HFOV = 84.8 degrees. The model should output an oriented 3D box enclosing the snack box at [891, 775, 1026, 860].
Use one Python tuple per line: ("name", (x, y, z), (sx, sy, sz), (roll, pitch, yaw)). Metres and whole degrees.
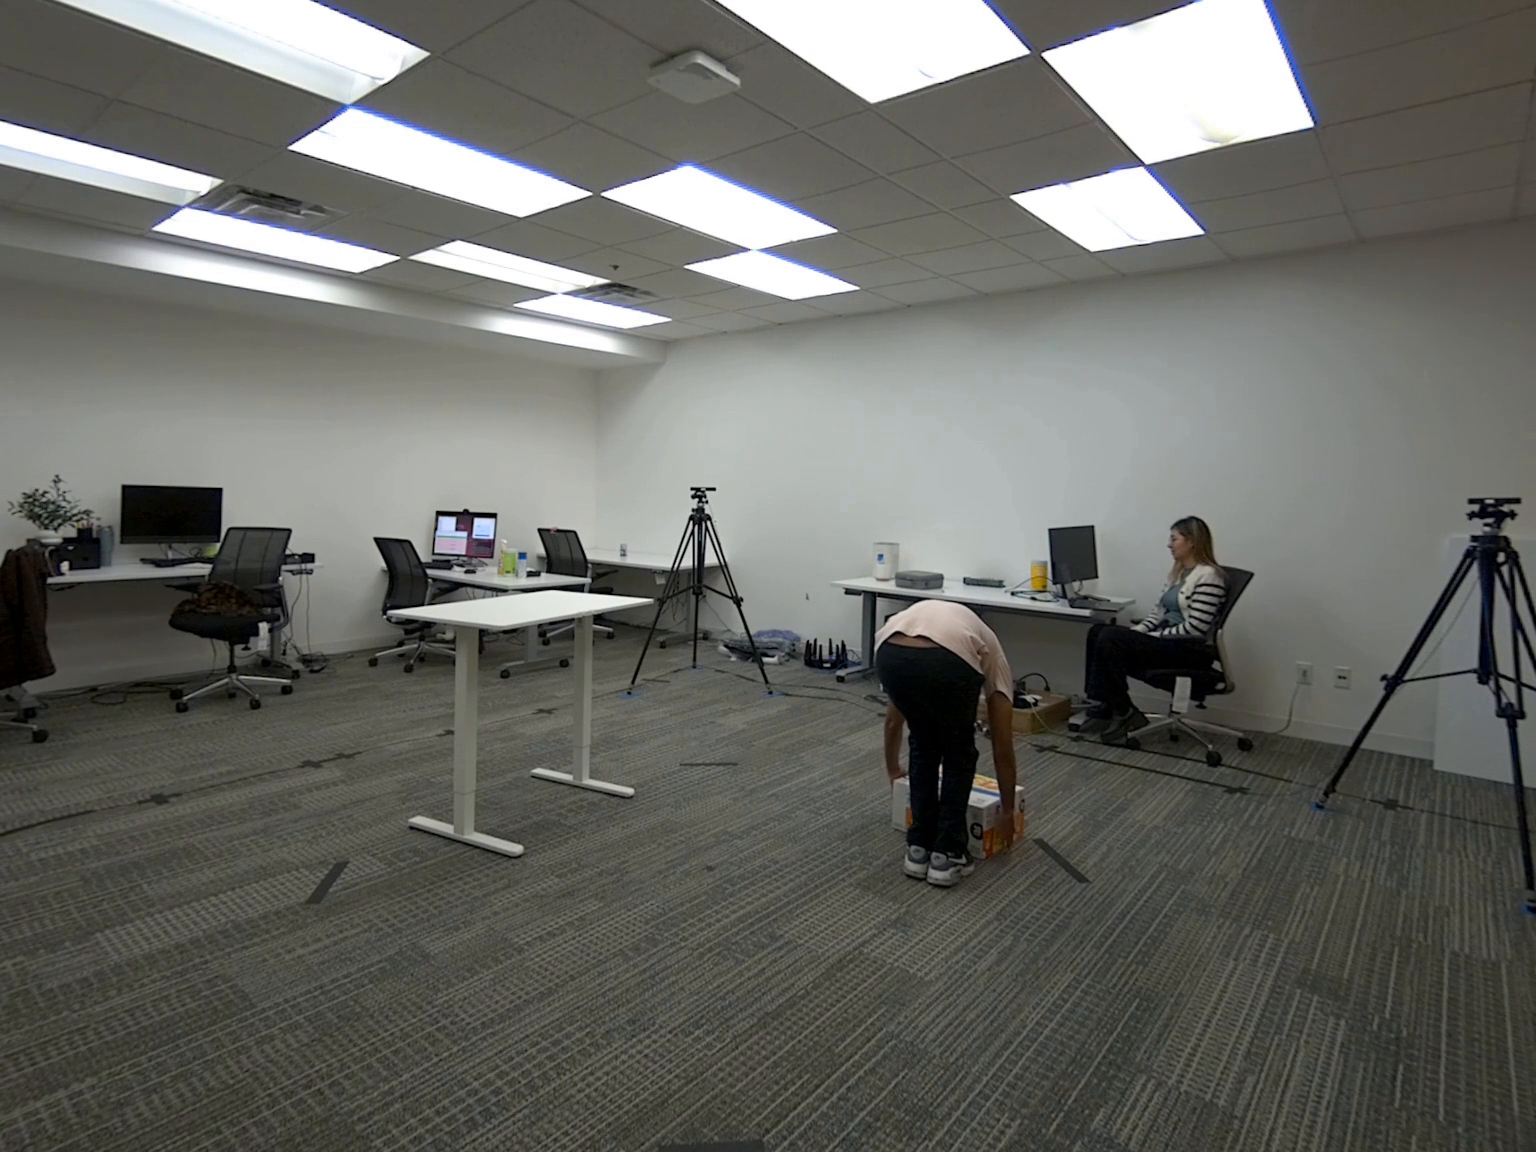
("snack box", (0.770, 0.945, 3.486), (0.419, 0.205, 0.330), (7, 7, 44))
